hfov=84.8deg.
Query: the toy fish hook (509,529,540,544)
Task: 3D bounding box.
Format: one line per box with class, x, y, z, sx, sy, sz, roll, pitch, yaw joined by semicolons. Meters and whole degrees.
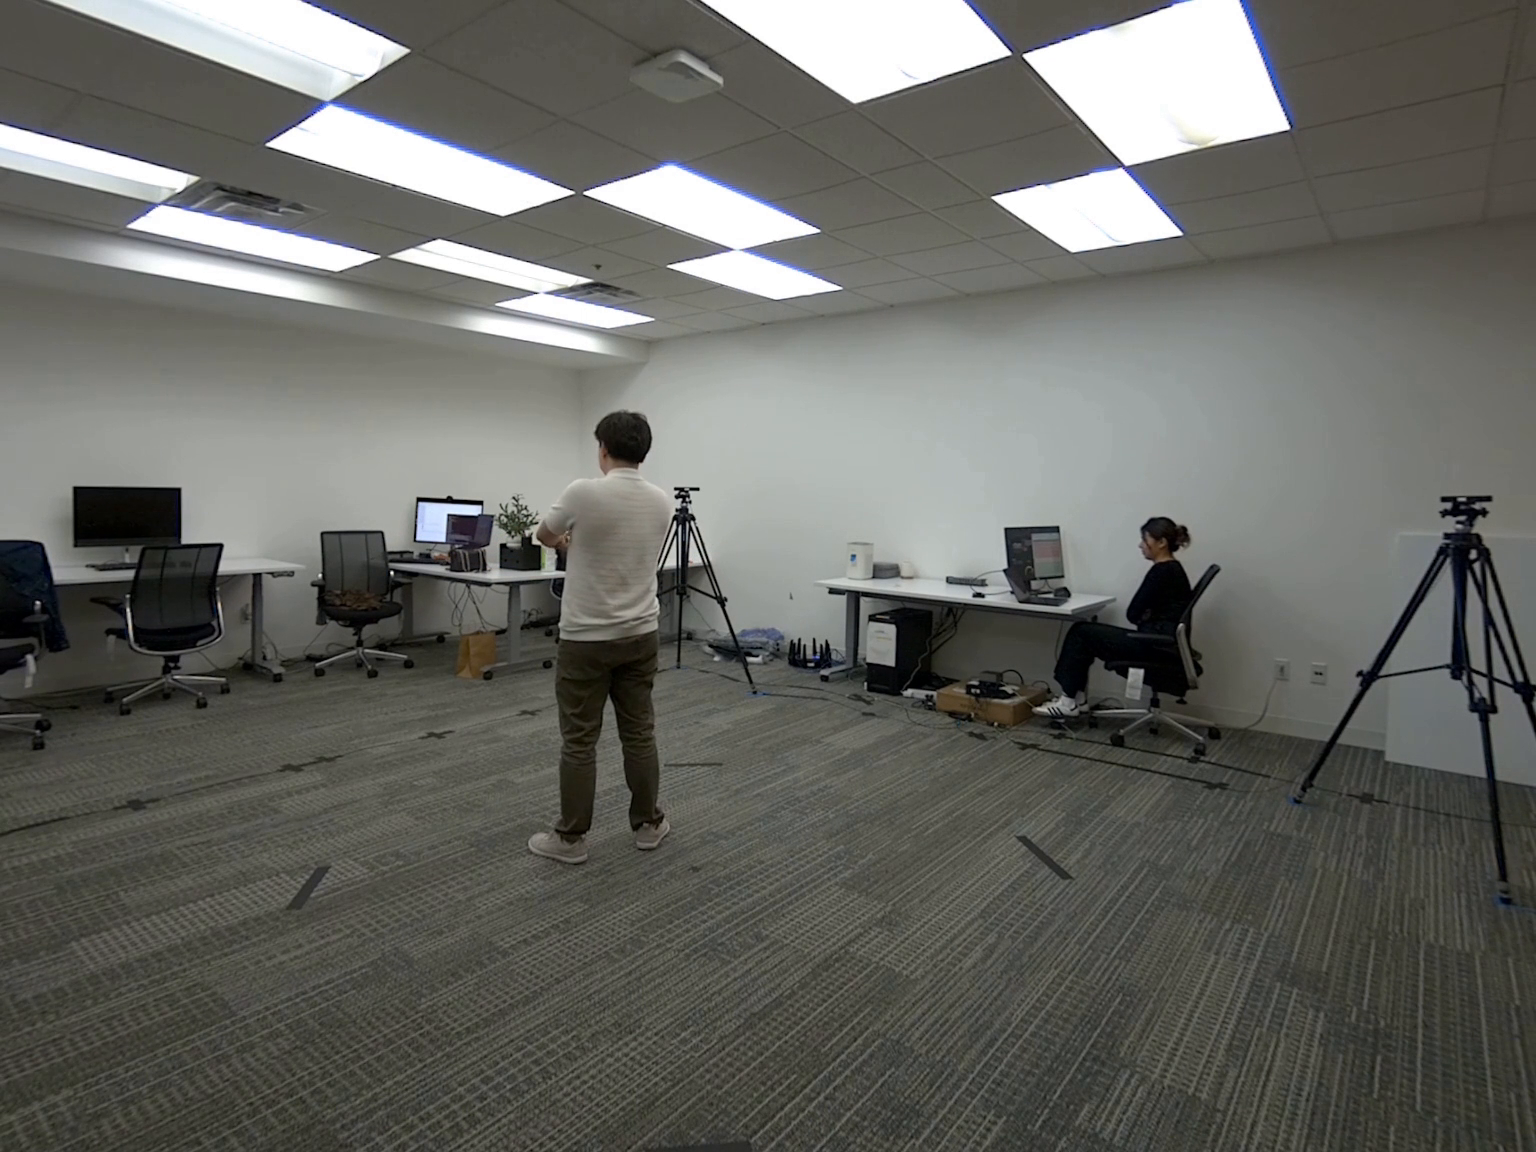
toy fish hook;-0.910;-0.185;3.712;0.228;0.048;0.499;-2;4;14
